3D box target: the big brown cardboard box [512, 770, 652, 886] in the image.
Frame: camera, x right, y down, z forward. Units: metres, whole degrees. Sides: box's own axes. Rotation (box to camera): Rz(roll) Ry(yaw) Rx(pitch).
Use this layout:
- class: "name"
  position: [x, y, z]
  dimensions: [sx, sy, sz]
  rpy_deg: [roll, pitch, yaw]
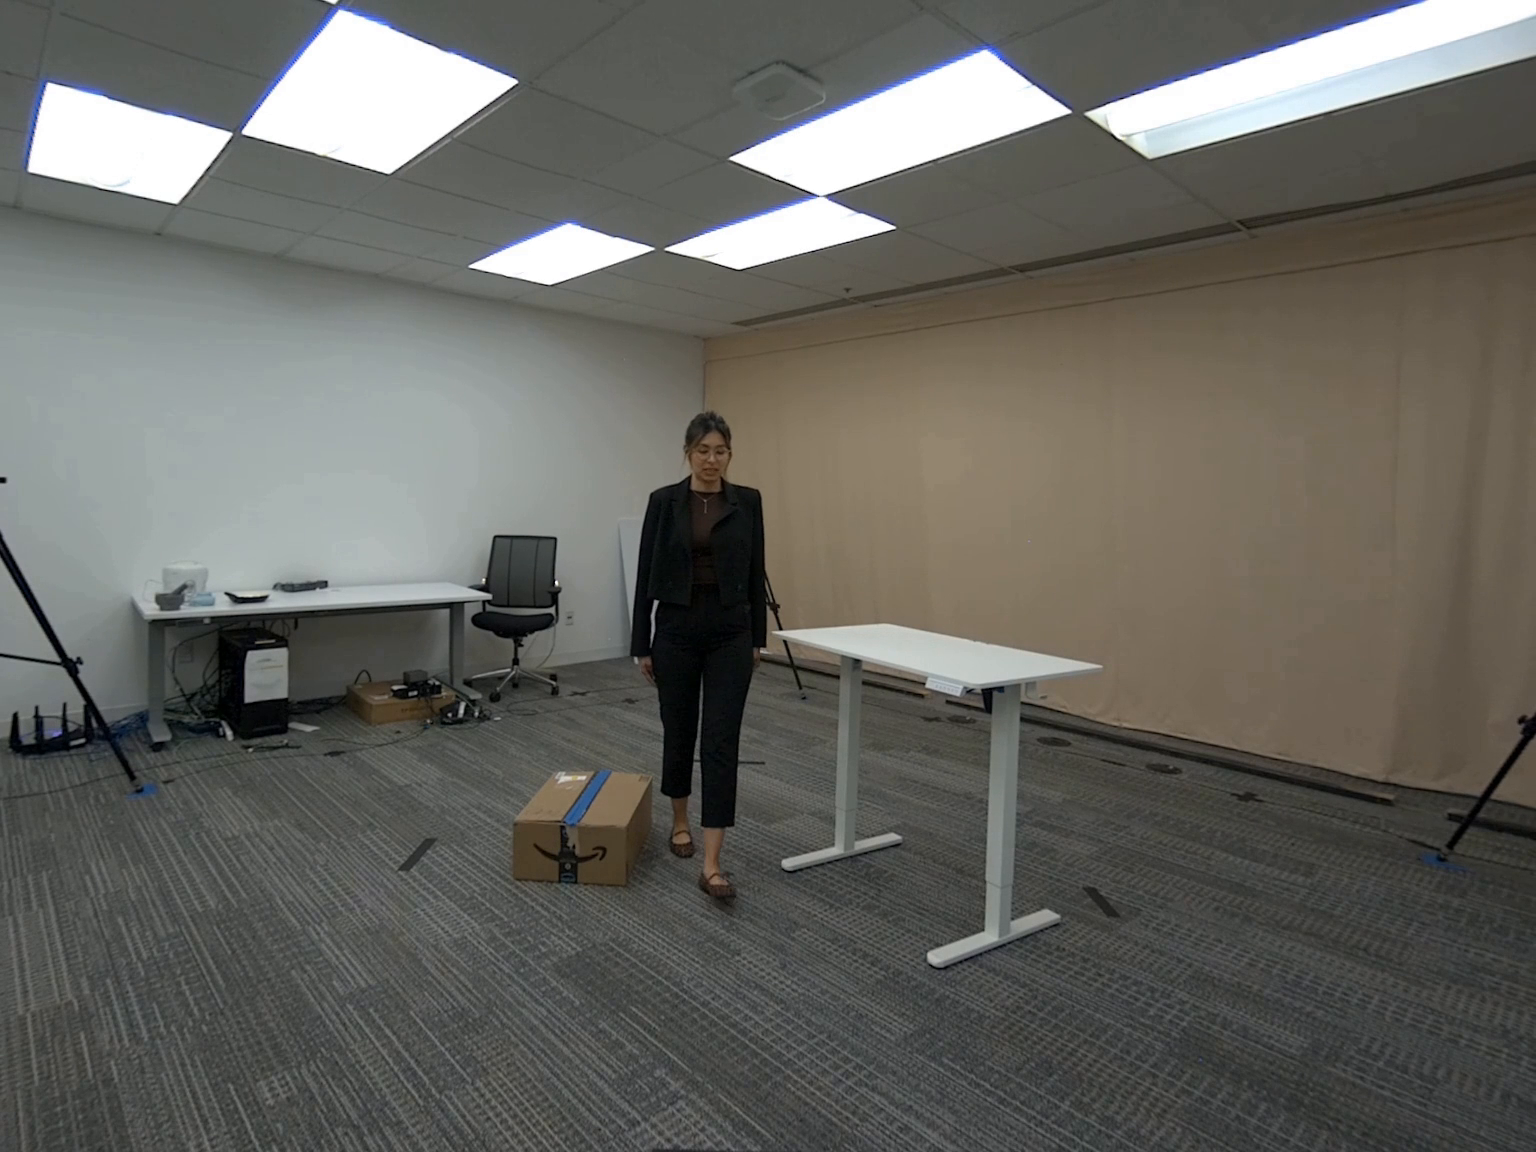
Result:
- class: "big brown cardboard box"
  position: [-0.705, 0.961, 3.280]
  dimensions: [0.418, 0.232, 0.590]
  rpy_deg: [1, 6, 1]
